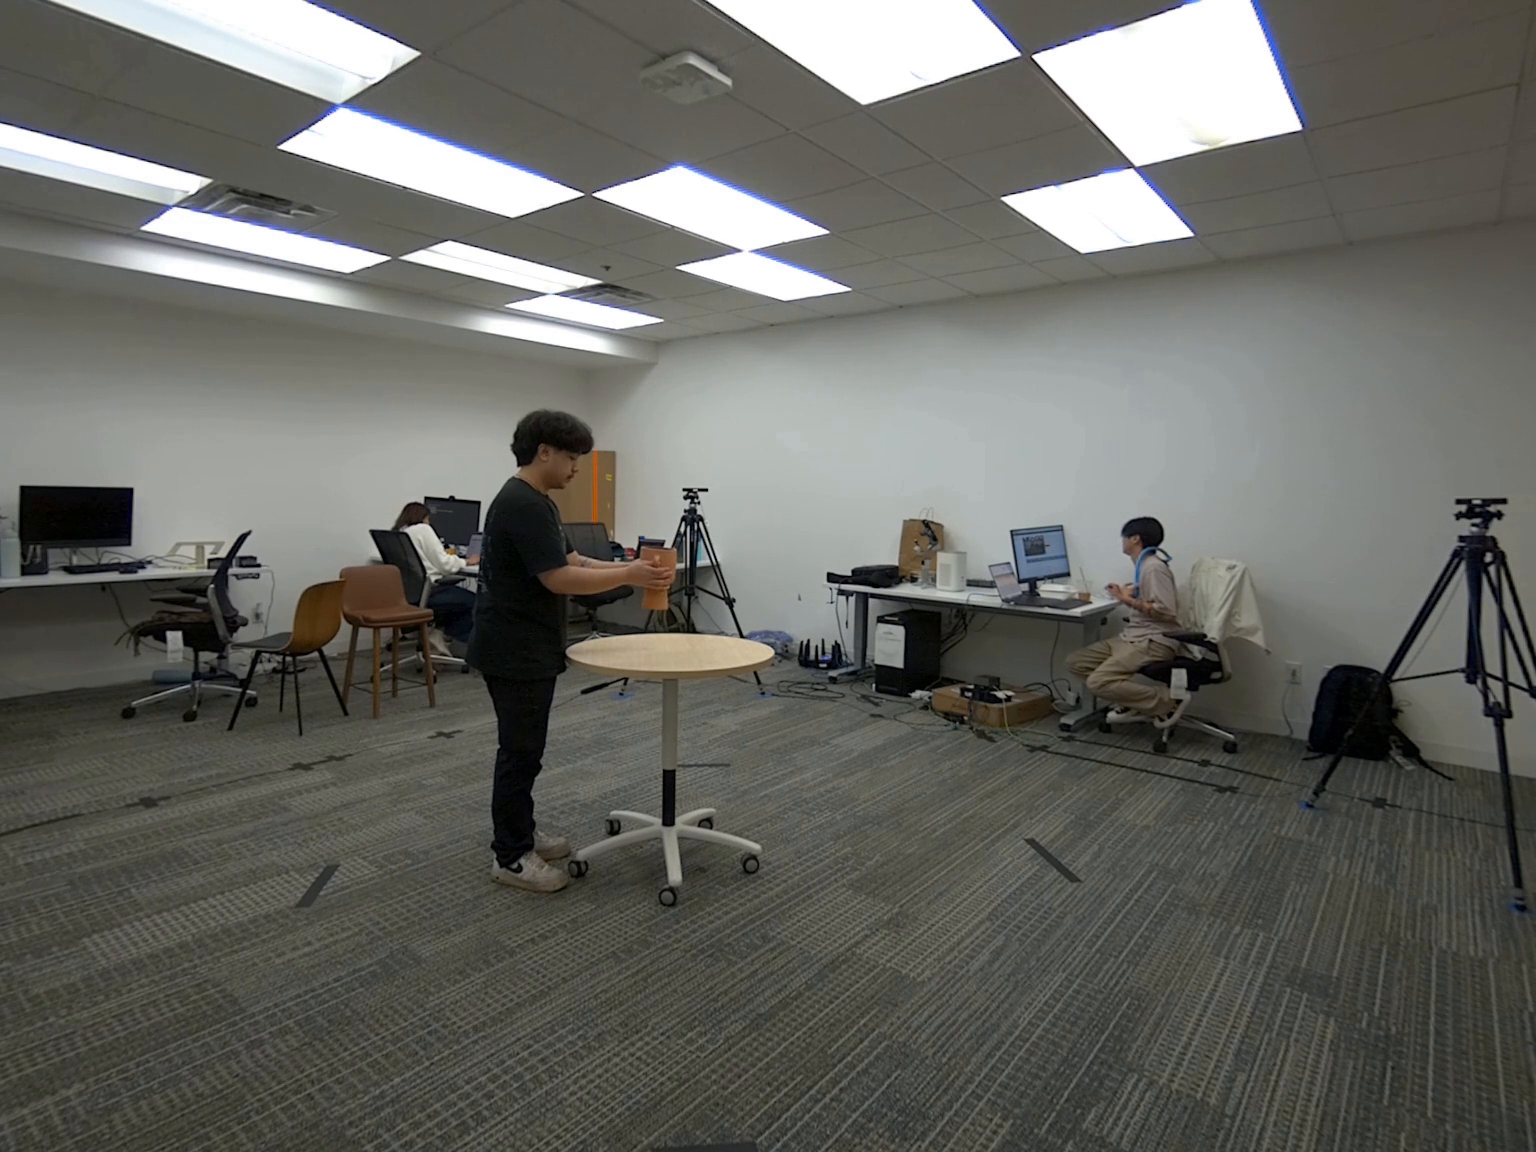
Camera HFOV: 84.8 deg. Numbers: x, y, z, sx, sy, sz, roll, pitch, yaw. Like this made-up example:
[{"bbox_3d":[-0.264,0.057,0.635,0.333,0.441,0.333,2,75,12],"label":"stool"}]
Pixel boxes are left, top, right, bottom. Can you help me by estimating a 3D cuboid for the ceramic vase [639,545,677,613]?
[{"bbox_3d":[-0.423,0.007,3.100,0.139,0.219,0.154,5,3,35],"label":"ceramic vase"}]
